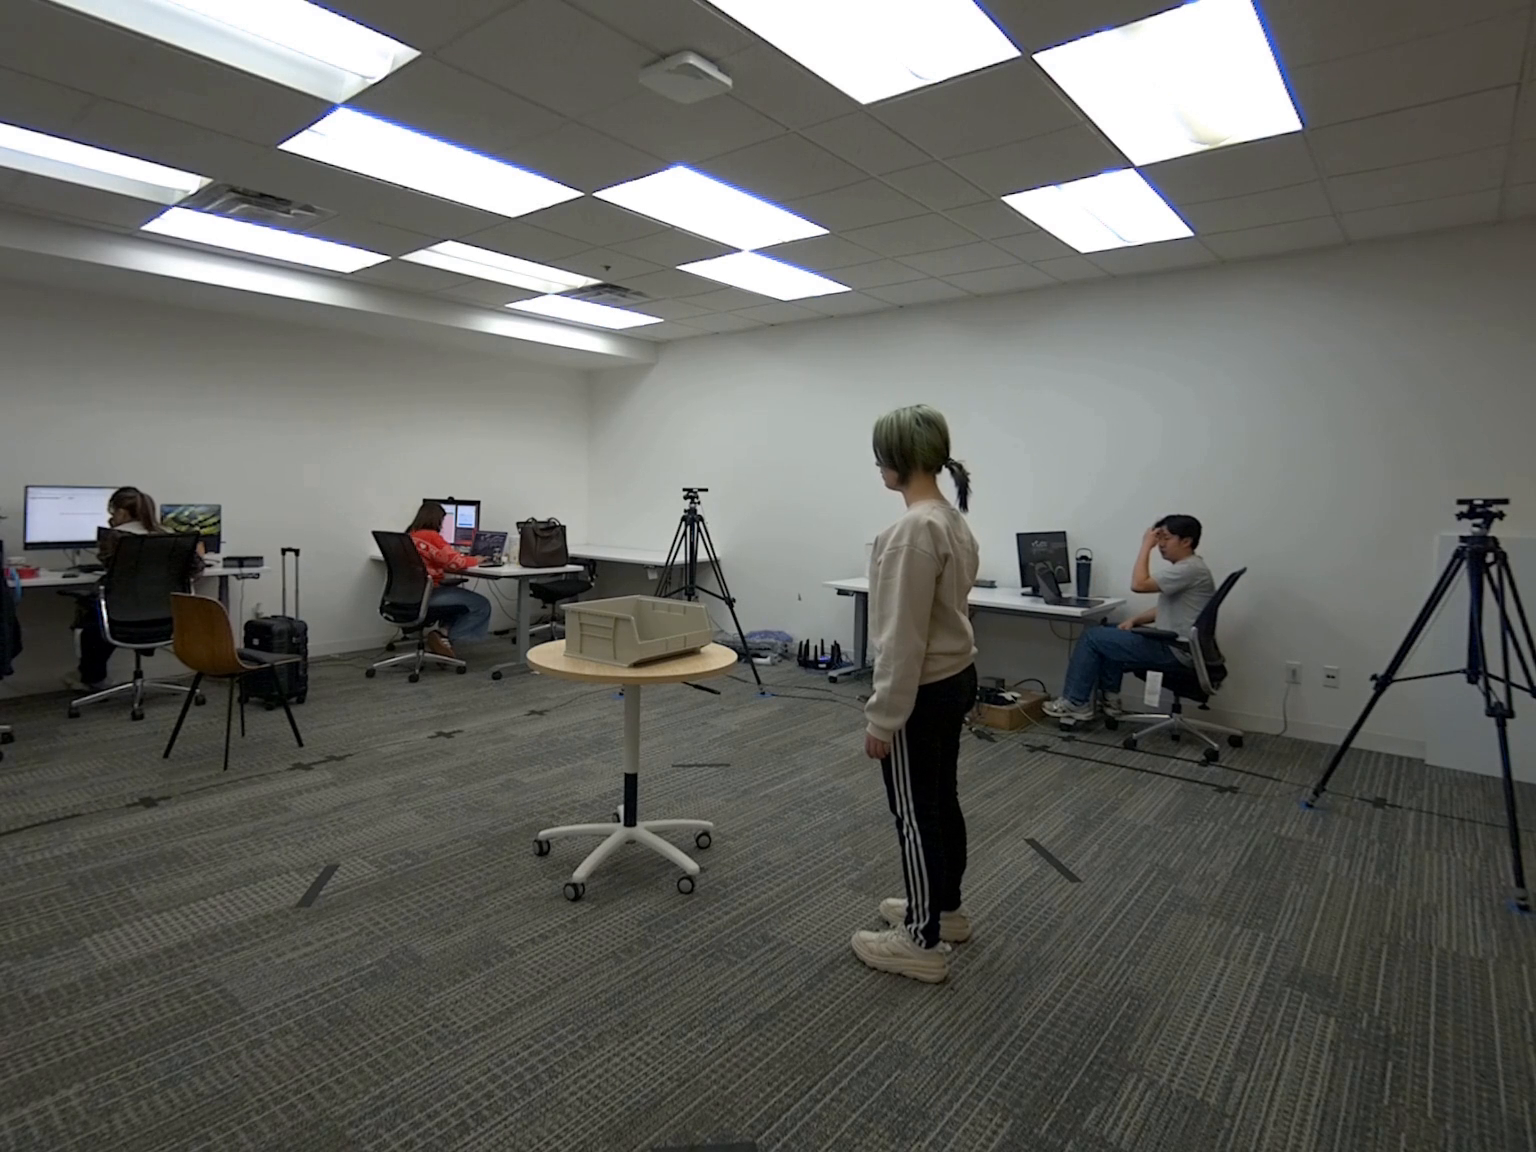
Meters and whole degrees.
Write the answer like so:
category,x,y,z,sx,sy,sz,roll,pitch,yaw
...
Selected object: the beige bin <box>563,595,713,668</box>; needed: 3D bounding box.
category,x,y,z,sx,sy,sz,roll,pitch,yaw
beige bin,-0.484,0.195,3.101,0.389,0.188,0.411,3,6,34
